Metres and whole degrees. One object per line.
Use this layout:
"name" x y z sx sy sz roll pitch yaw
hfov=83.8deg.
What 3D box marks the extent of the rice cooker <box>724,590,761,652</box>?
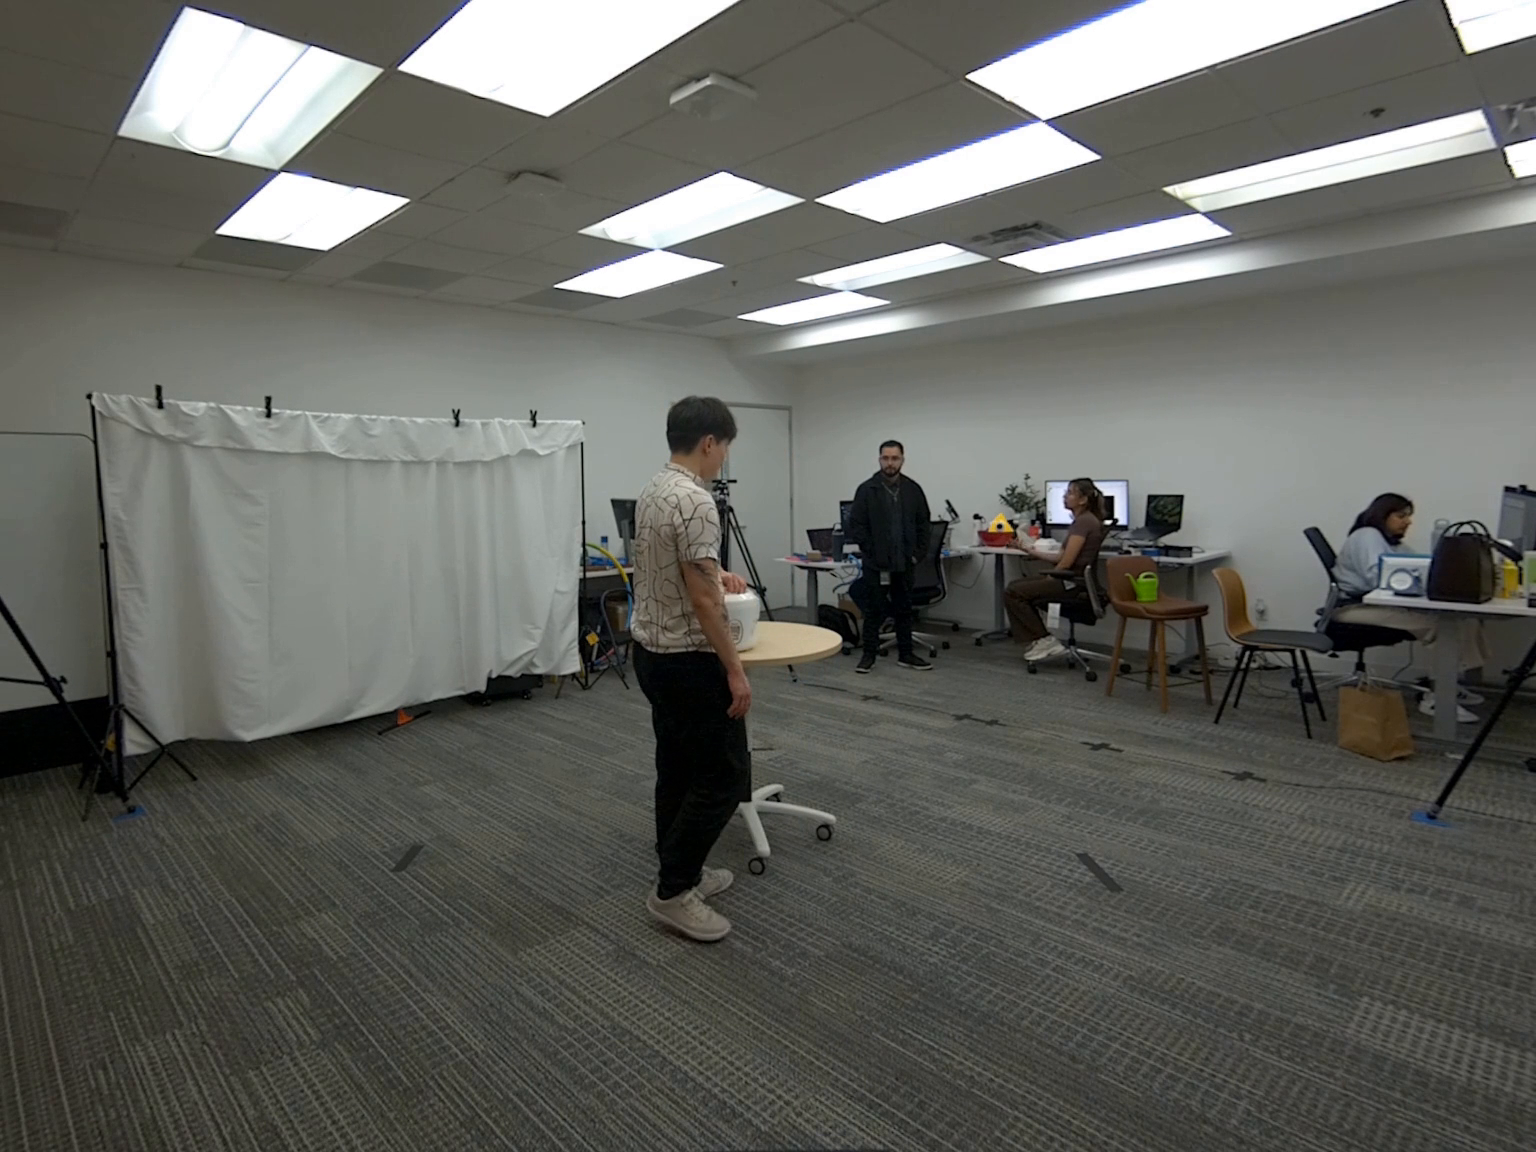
"rice cooker" -0.133 0.151 3.126 0.218 0.232 0.220 -3 4 -11
